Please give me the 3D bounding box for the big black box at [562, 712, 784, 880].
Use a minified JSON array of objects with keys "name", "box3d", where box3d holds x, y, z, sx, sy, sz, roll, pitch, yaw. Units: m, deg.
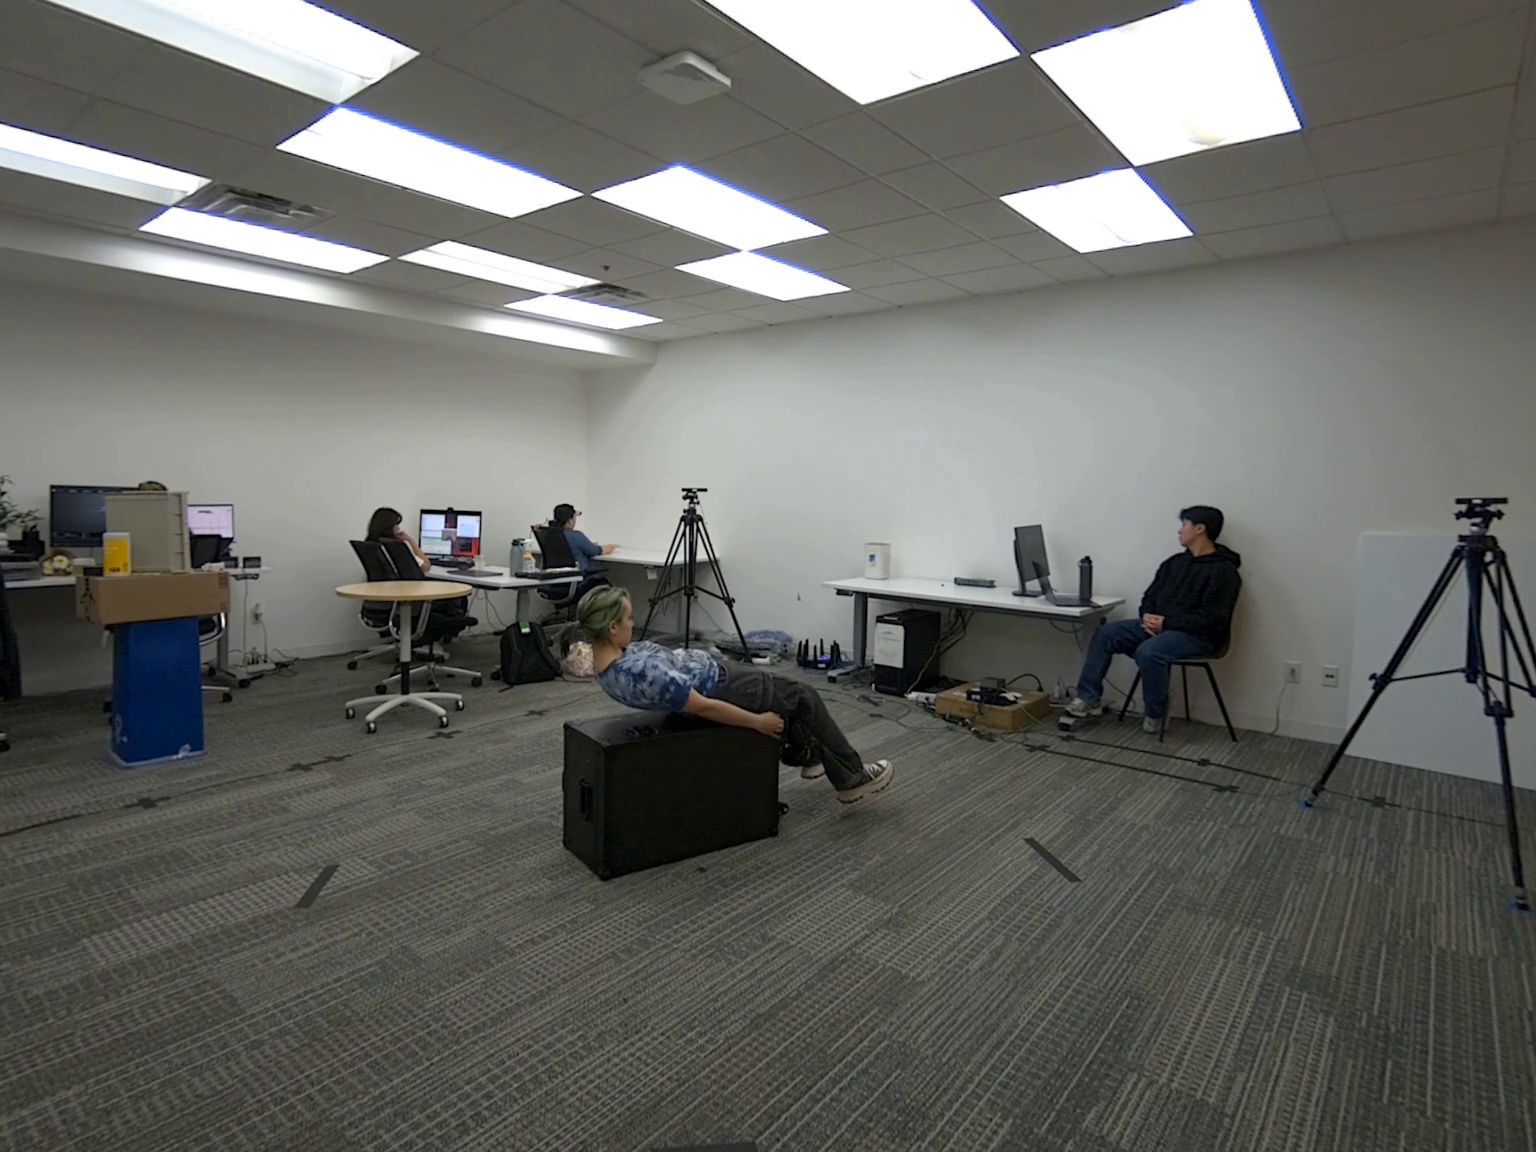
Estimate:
[{"name":"big black box","box3d":[-0.365,0.800,3.368,0.837,0.520,0.409,-1,4,-34]}]
